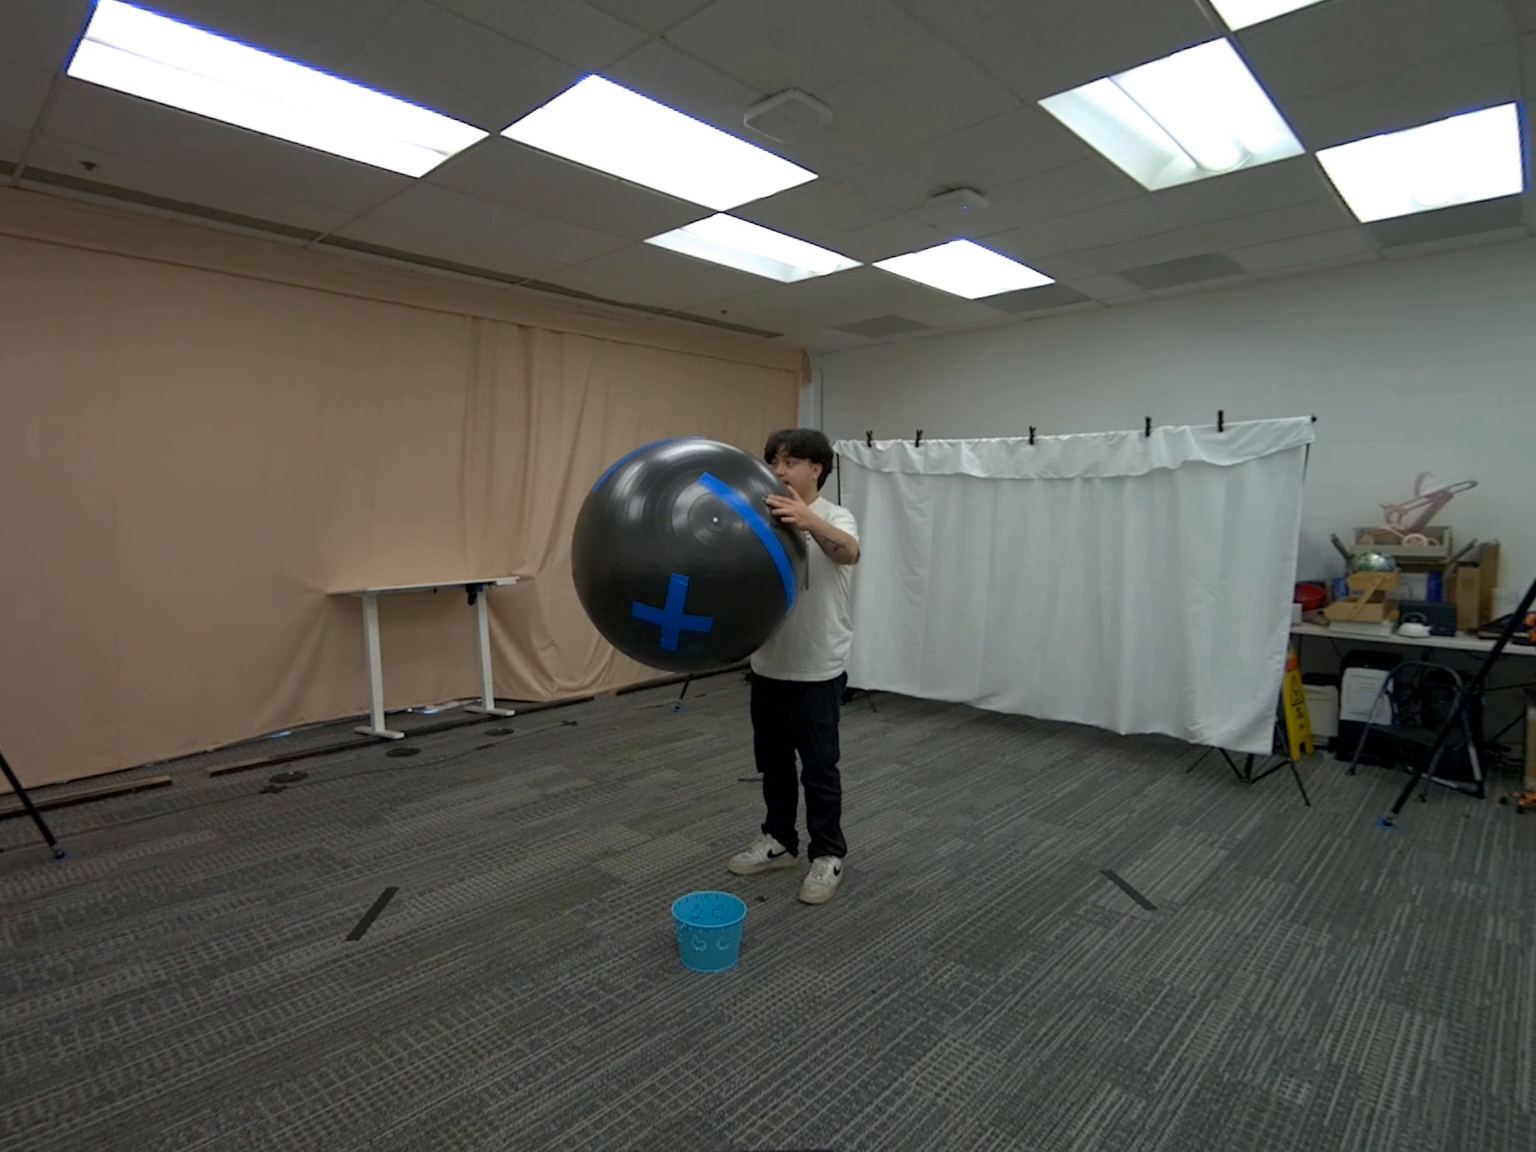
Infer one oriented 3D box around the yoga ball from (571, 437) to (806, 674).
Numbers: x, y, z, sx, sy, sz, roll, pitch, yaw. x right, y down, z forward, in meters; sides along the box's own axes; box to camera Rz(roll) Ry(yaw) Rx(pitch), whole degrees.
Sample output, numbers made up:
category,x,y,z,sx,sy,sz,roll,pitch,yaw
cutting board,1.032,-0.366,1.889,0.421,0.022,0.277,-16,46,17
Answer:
category,x,y,z,sx,sy,sz,roll,pitch,yaw
yoga ball,-0.262,-0.062,2.715,0.757,0.756,0.760,0,4,-2
